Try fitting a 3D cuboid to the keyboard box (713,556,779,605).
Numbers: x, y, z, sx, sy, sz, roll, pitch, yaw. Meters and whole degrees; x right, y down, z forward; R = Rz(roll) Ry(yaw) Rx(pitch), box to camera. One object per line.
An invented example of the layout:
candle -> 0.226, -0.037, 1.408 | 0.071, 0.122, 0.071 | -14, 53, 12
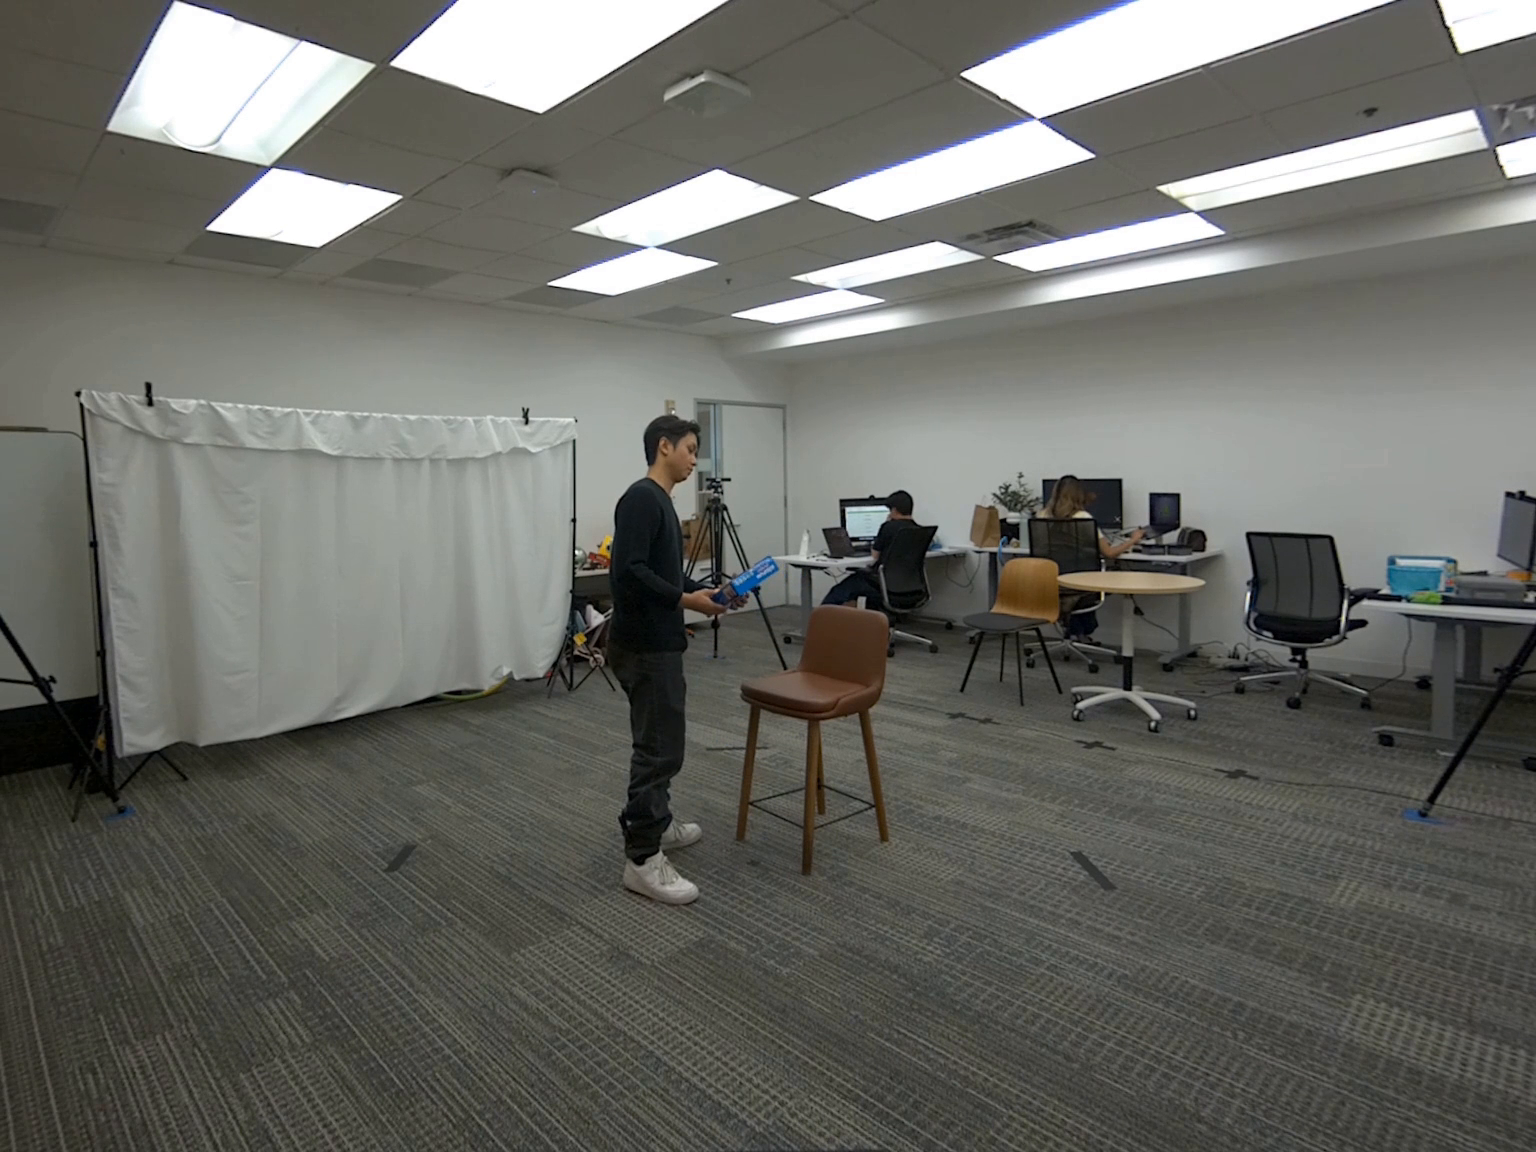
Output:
keyboard box -> -0.100, 0.040, 3.007 | 0.175, 0.059, 0.438 | -35, 0, -20
